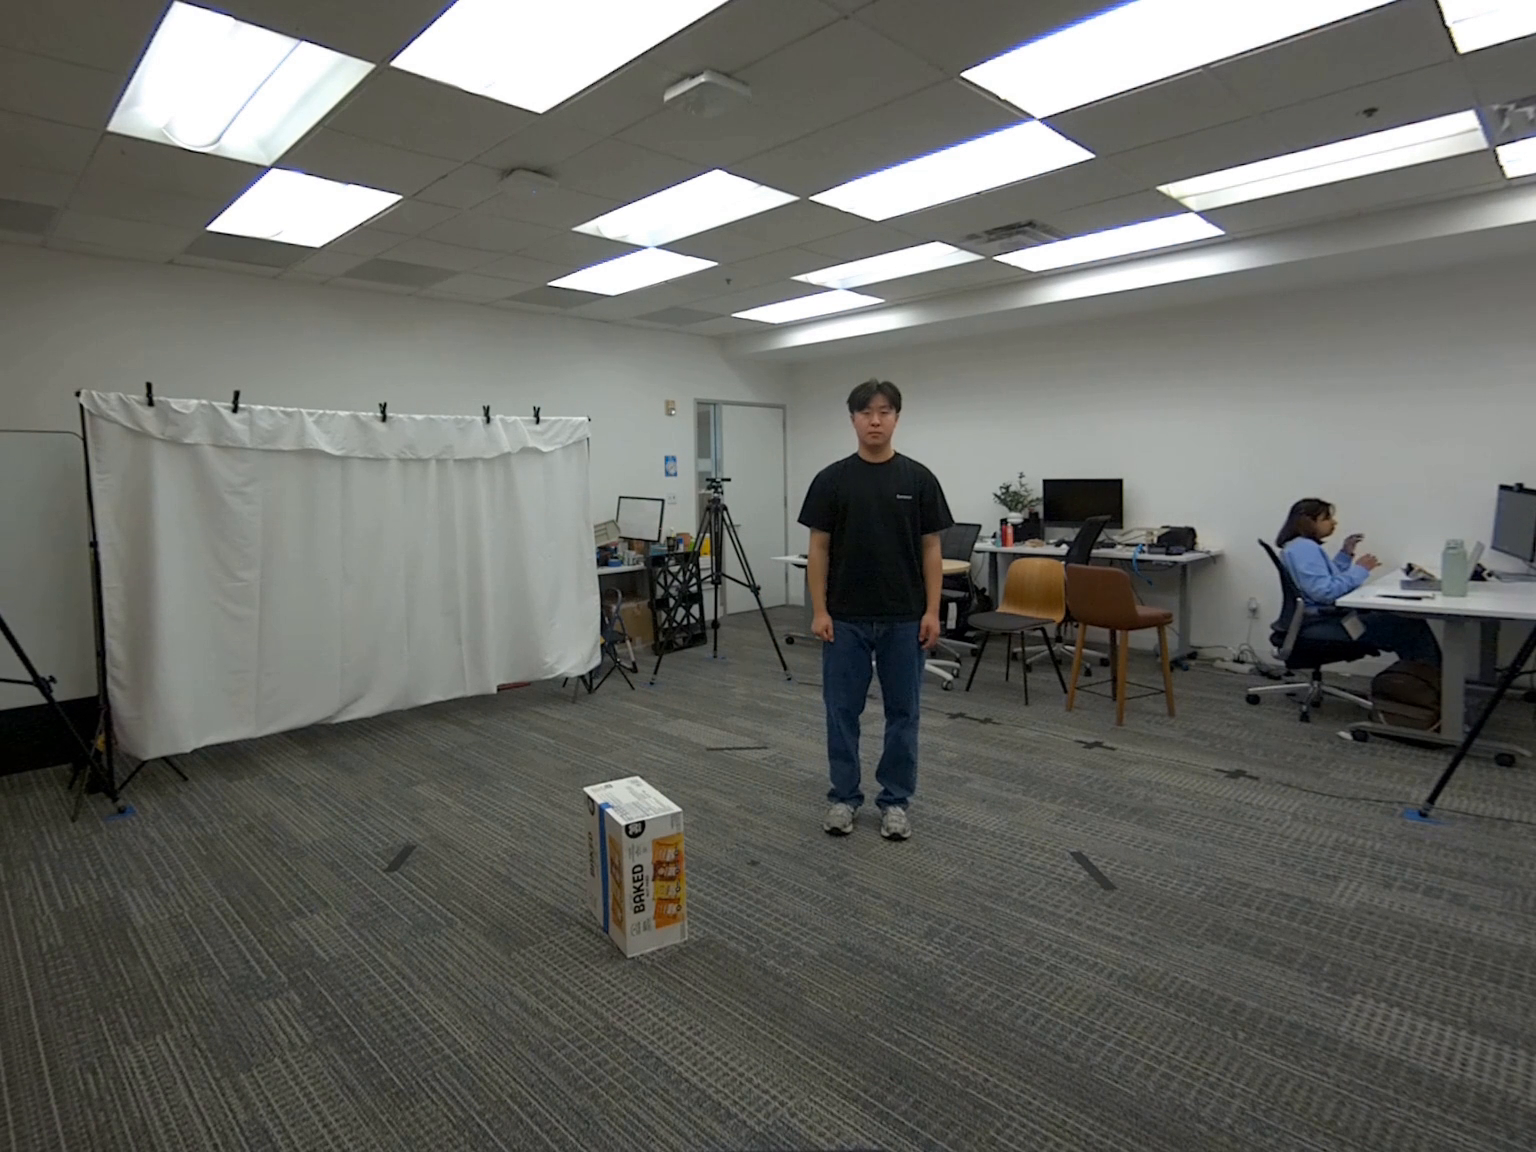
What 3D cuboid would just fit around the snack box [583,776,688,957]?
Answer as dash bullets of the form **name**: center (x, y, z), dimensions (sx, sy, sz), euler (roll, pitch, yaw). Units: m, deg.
- **snack box**: center (-0.421, 0.892, 2.680), dimensions (0.201, 0.403, 0.350), euler (-4, 6, -31)
